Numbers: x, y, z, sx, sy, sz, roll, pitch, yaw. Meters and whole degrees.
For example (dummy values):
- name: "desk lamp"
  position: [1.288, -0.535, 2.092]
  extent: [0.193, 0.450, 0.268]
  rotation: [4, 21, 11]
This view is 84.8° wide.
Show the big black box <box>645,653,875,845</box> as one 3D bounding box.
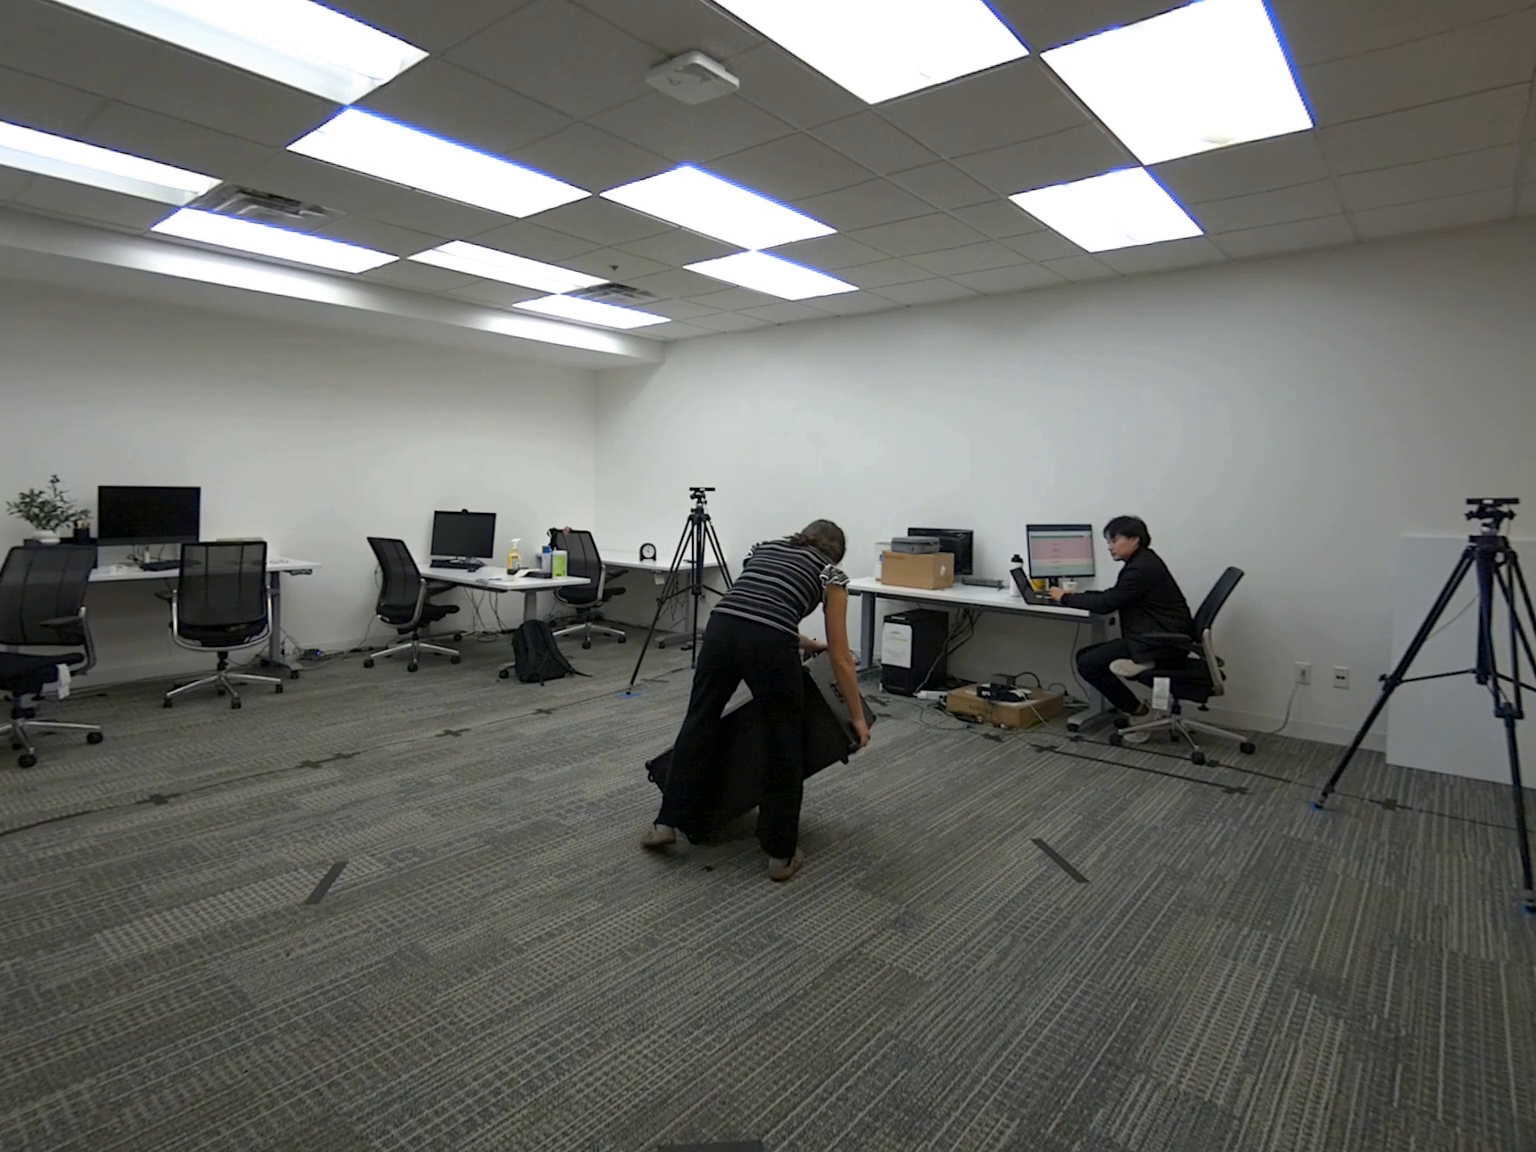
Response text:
- name: "big black box"
  position: [-0.045, 0.696, 3.481]
  extent: [0.866, 0.400, 0.514]
  rotation: [-32, -5, 16]
